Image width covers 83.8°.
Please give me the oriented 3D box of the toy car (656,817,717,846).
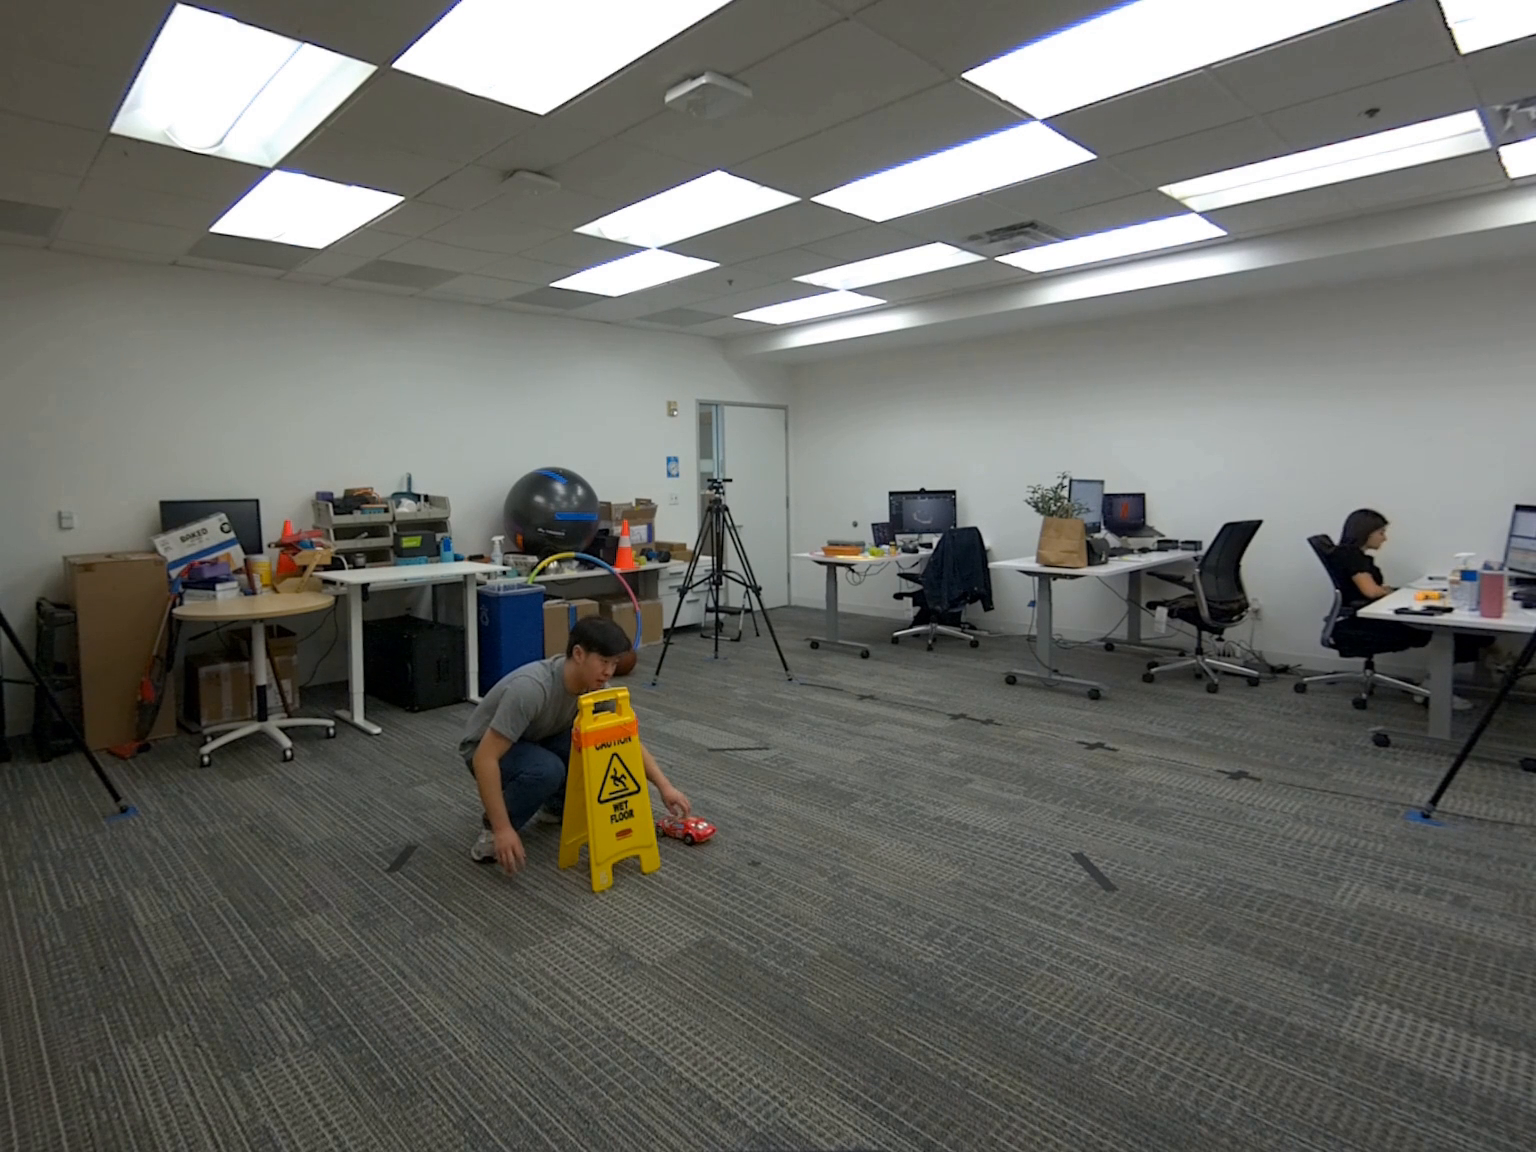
[{"bbox_3d":[-0.317,0.987,3.330,0.260,0.083,0.127,-9,0,35],"label":"toy car"}]
